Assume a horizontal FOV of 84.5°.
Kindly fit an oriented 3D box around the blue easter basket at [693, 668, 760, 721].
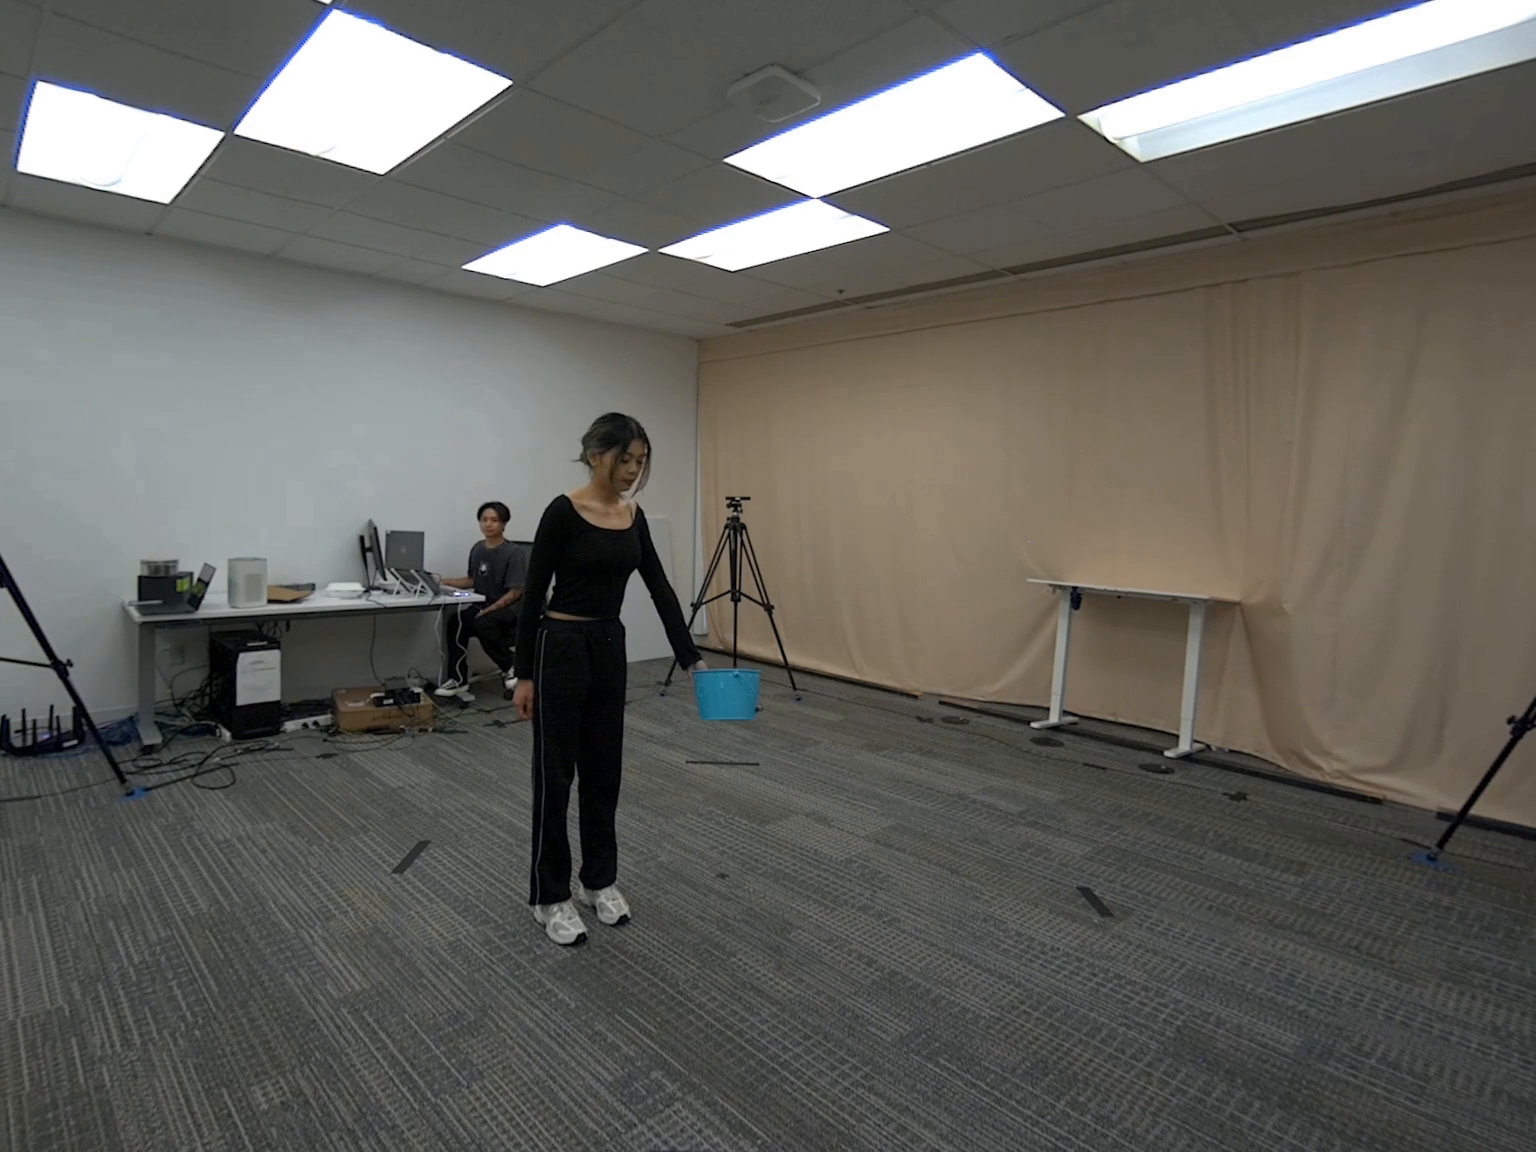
[{"bbox_3d":[-0.139,0.386,2.731,0.243,0.157,0.242,-1,-8,-1],"label":"blue easter basket"}]
